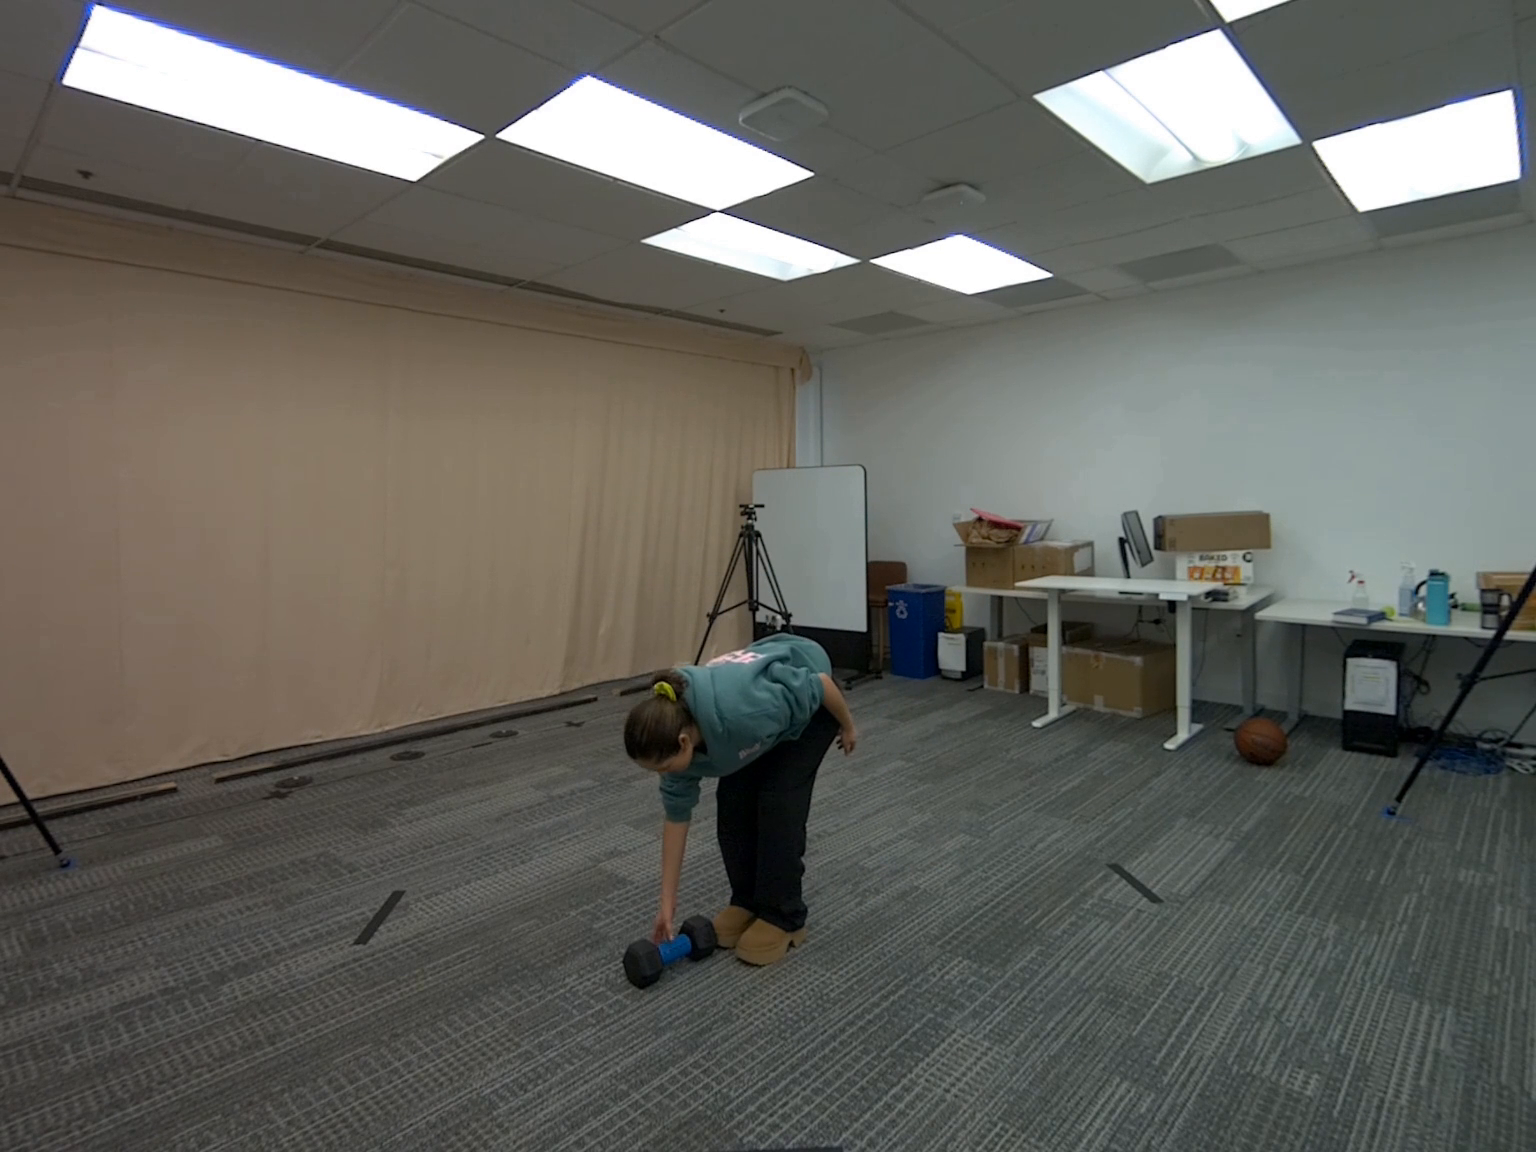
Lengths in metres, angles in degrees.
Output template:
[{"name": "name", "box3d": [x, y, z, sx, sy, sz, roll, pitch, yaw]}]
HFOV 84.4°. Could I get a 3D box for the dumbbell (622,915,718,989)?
[{"name": "dumbbell", "box3d": [-0.293, 1.133, 2.535, 0.285, 0.122, 0.112, -5, 36, -44]}]
